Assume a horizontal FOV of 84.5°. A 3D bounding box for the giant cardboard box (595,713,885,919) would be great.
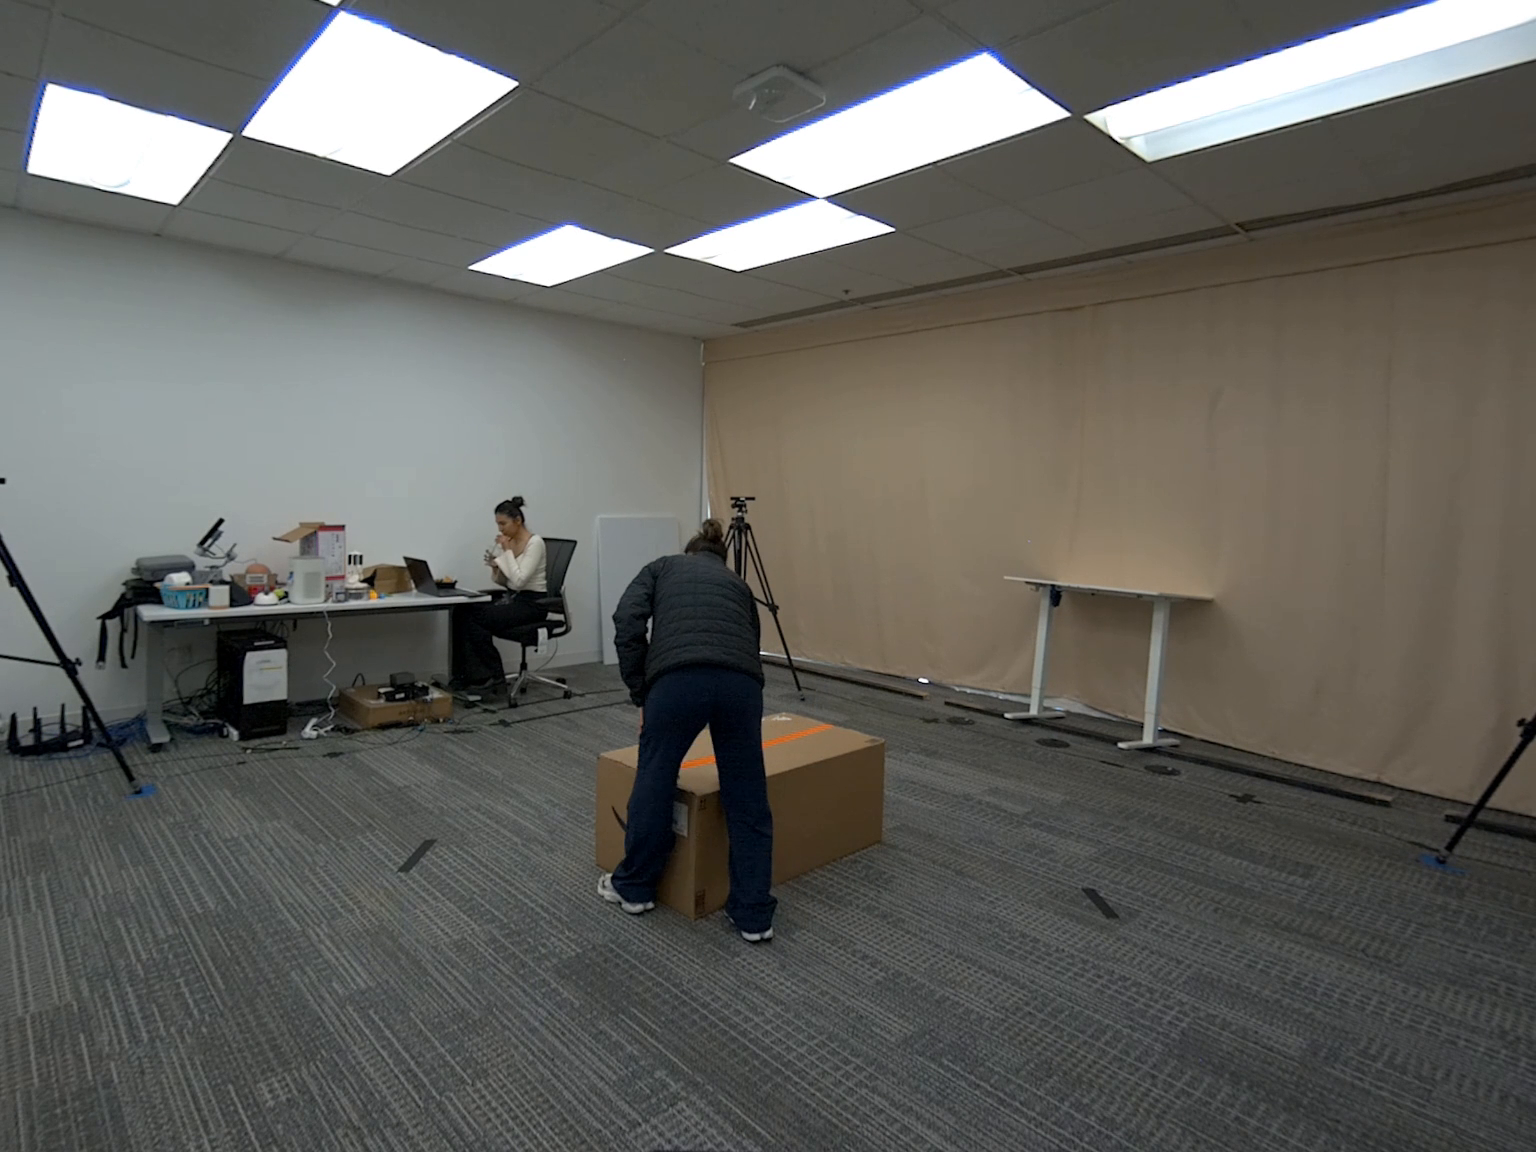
[{"bbox_3d":[-0.092,0.884,3.298,1.003,0.445,0.599,-3,7,-44],"label":"giant cardboard box"}]
